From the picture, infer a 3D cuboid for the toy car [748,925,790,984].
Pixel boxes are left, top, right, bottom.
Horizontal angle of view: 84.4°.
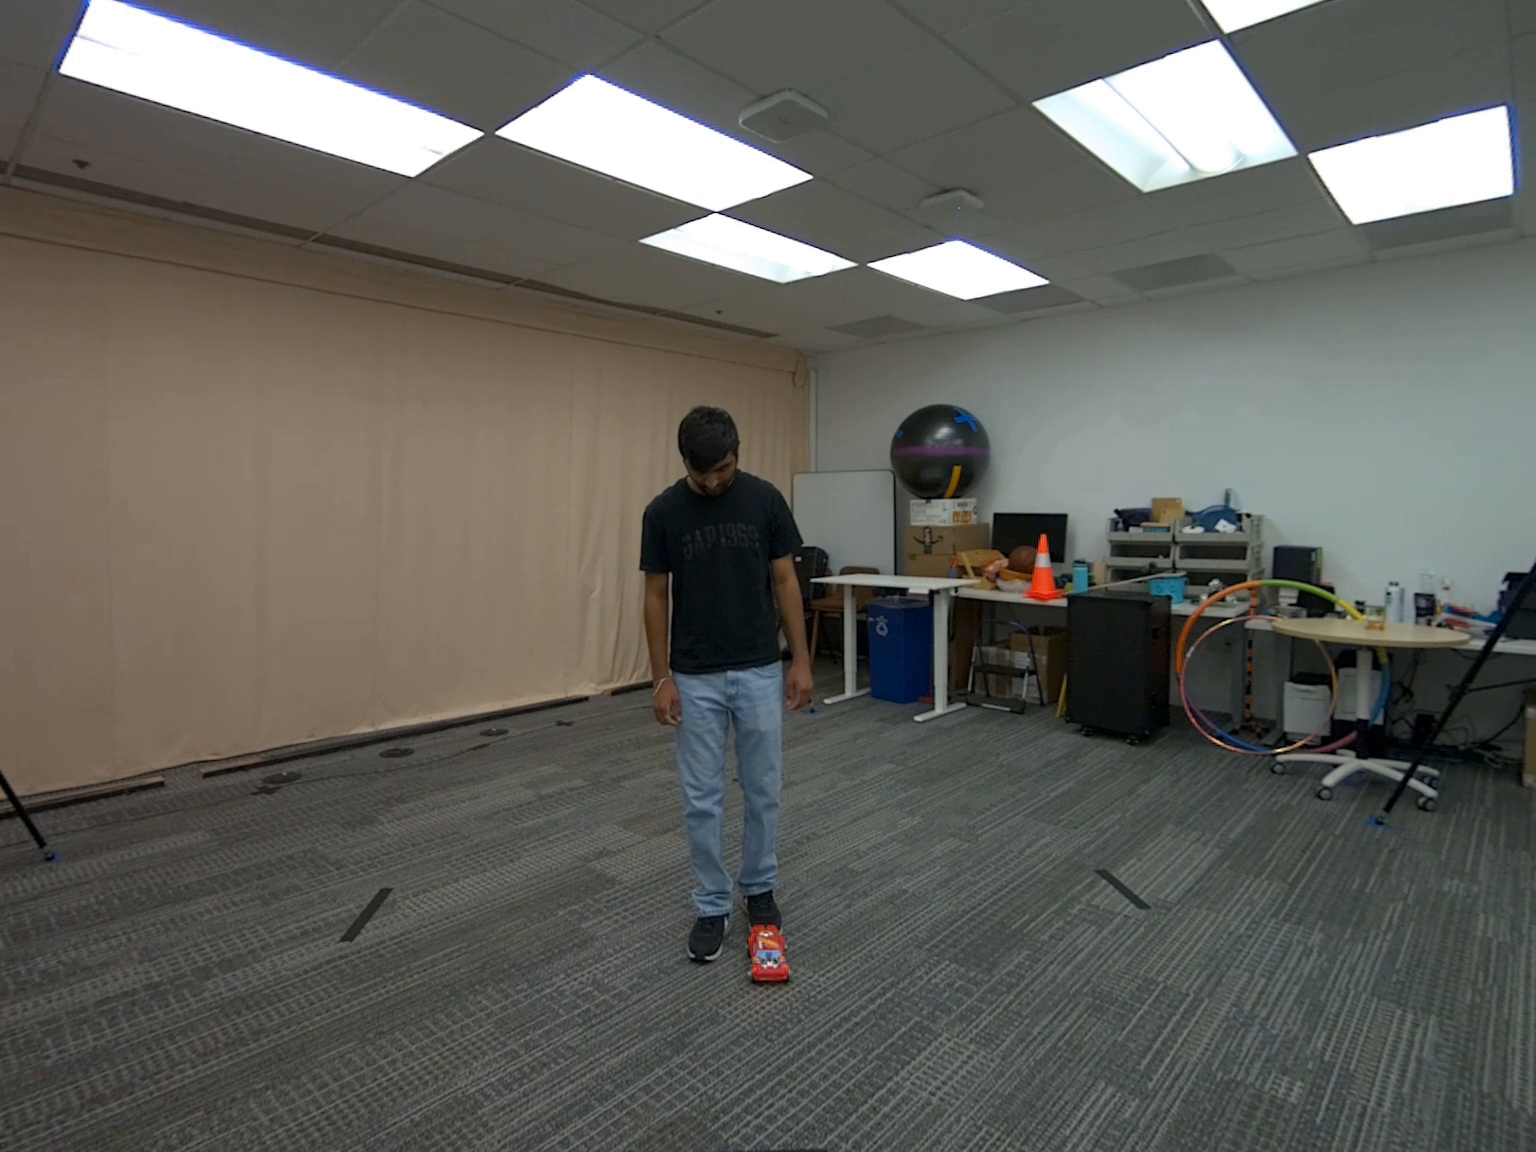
[{"bbox_3d":[-0.002,1.141,2.556,0.130,0.082,0.257,-2,17,-3],"label":"toy car"}]
